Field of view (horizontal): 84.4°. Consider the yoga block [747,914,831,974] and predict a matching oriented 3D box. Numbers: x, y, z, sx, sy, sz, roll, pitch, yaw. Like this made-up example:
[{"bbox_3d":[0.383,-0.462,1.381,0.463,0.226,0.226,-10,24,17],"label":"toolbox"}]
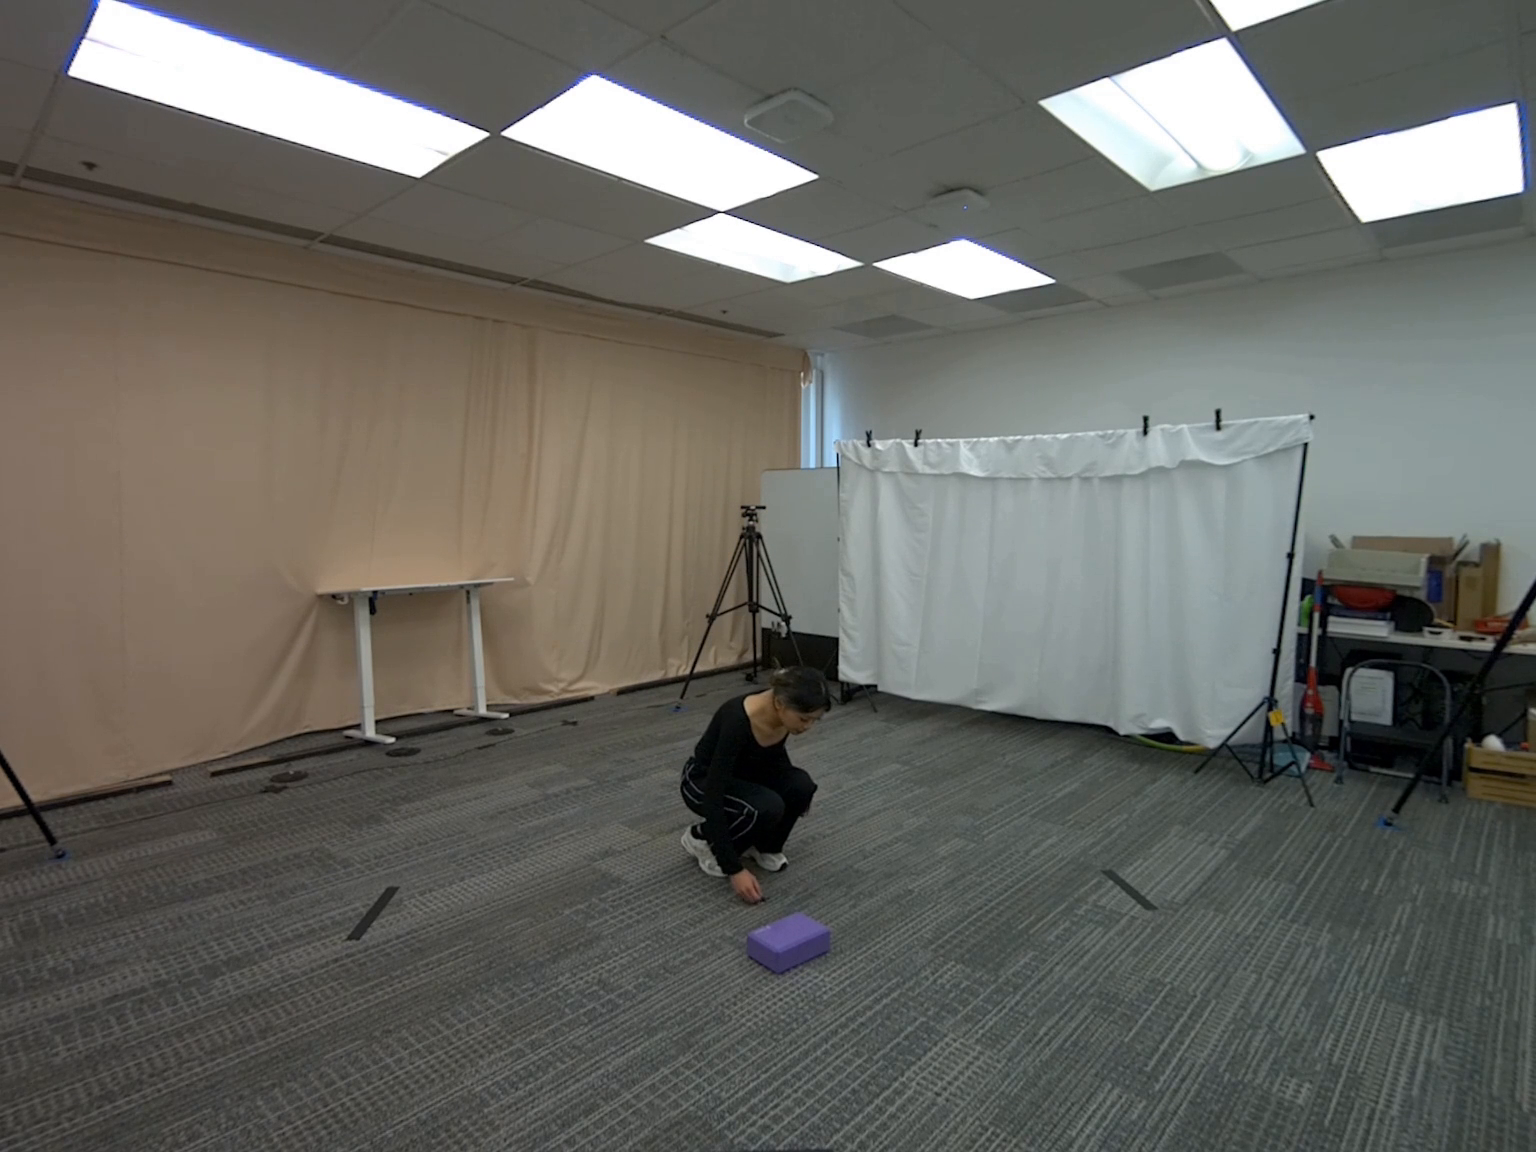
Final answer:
[{"bbox_3d":[0.067,1.129,2.616,0.222,0.076,0.154,-5,7,-40],"label":"yoga block"}]
